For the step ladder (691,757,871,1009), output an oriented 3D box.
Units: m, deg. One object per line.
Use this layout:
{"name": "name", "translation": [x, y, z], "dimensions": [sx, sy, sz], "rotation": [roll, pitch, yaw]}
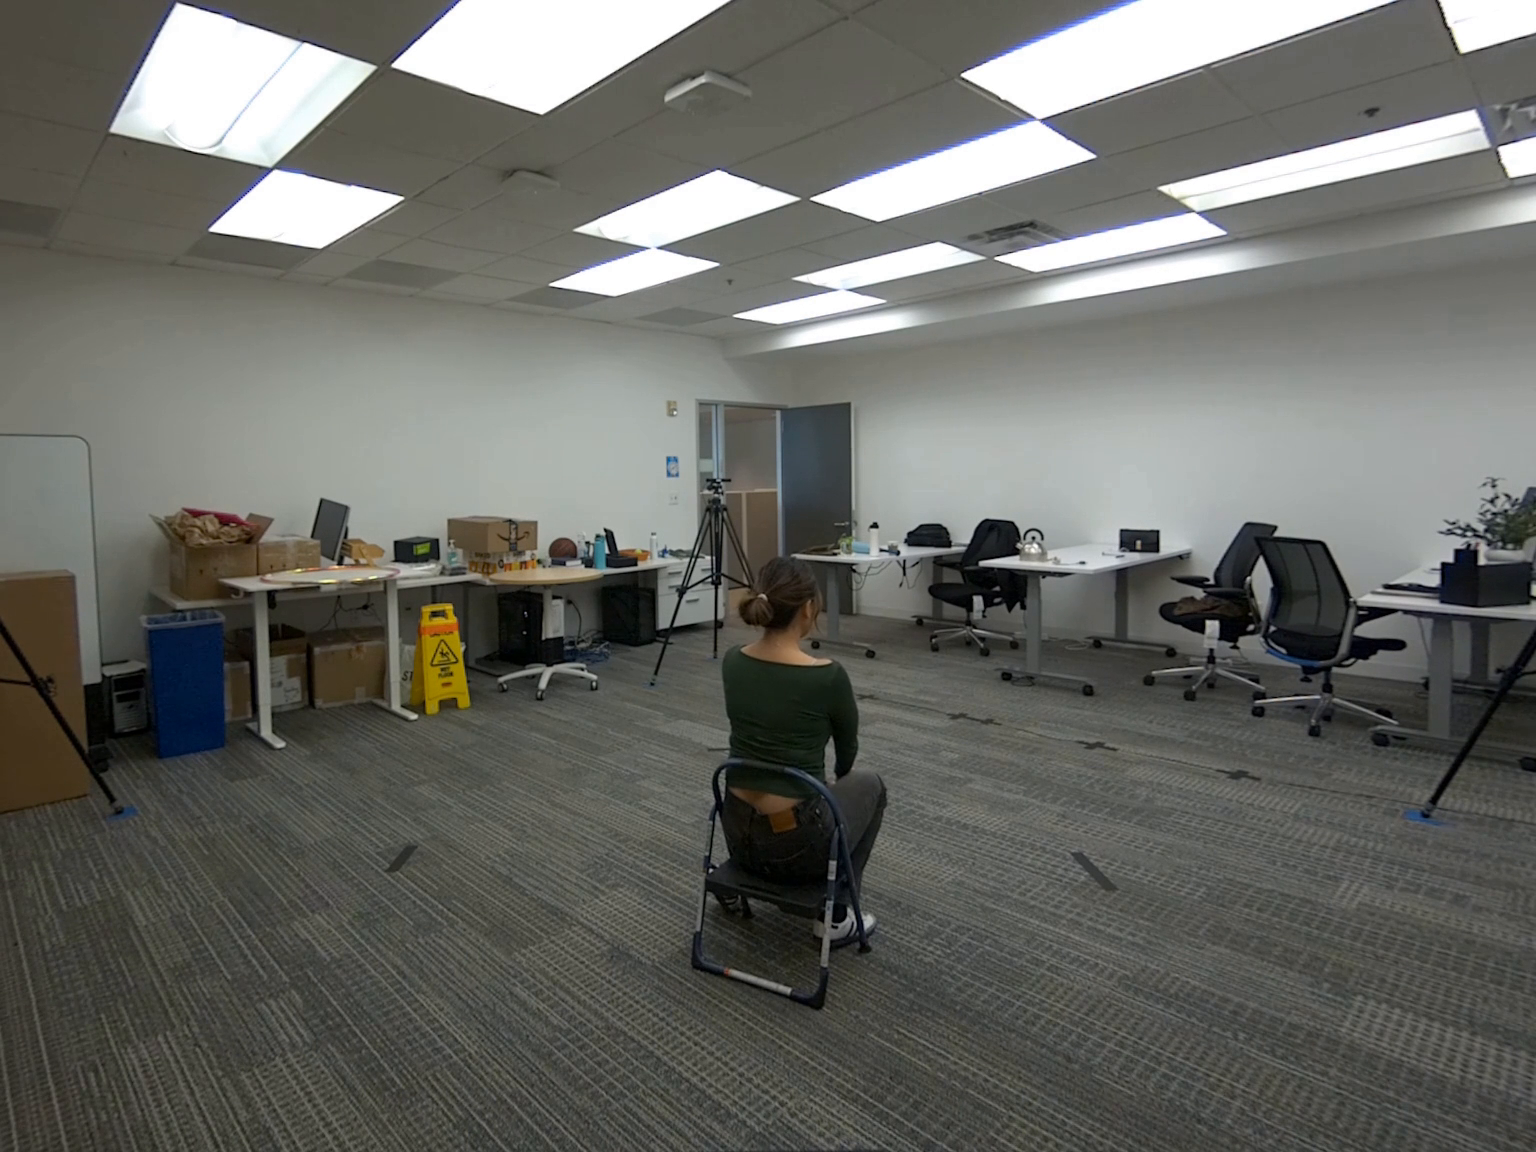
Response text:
{"name": "step ladder", "translation": [0.032, 0.823, 2.467], "dimensions": [0.442, 0.603, 0.342], "rotation": [1, 5, 29]}
